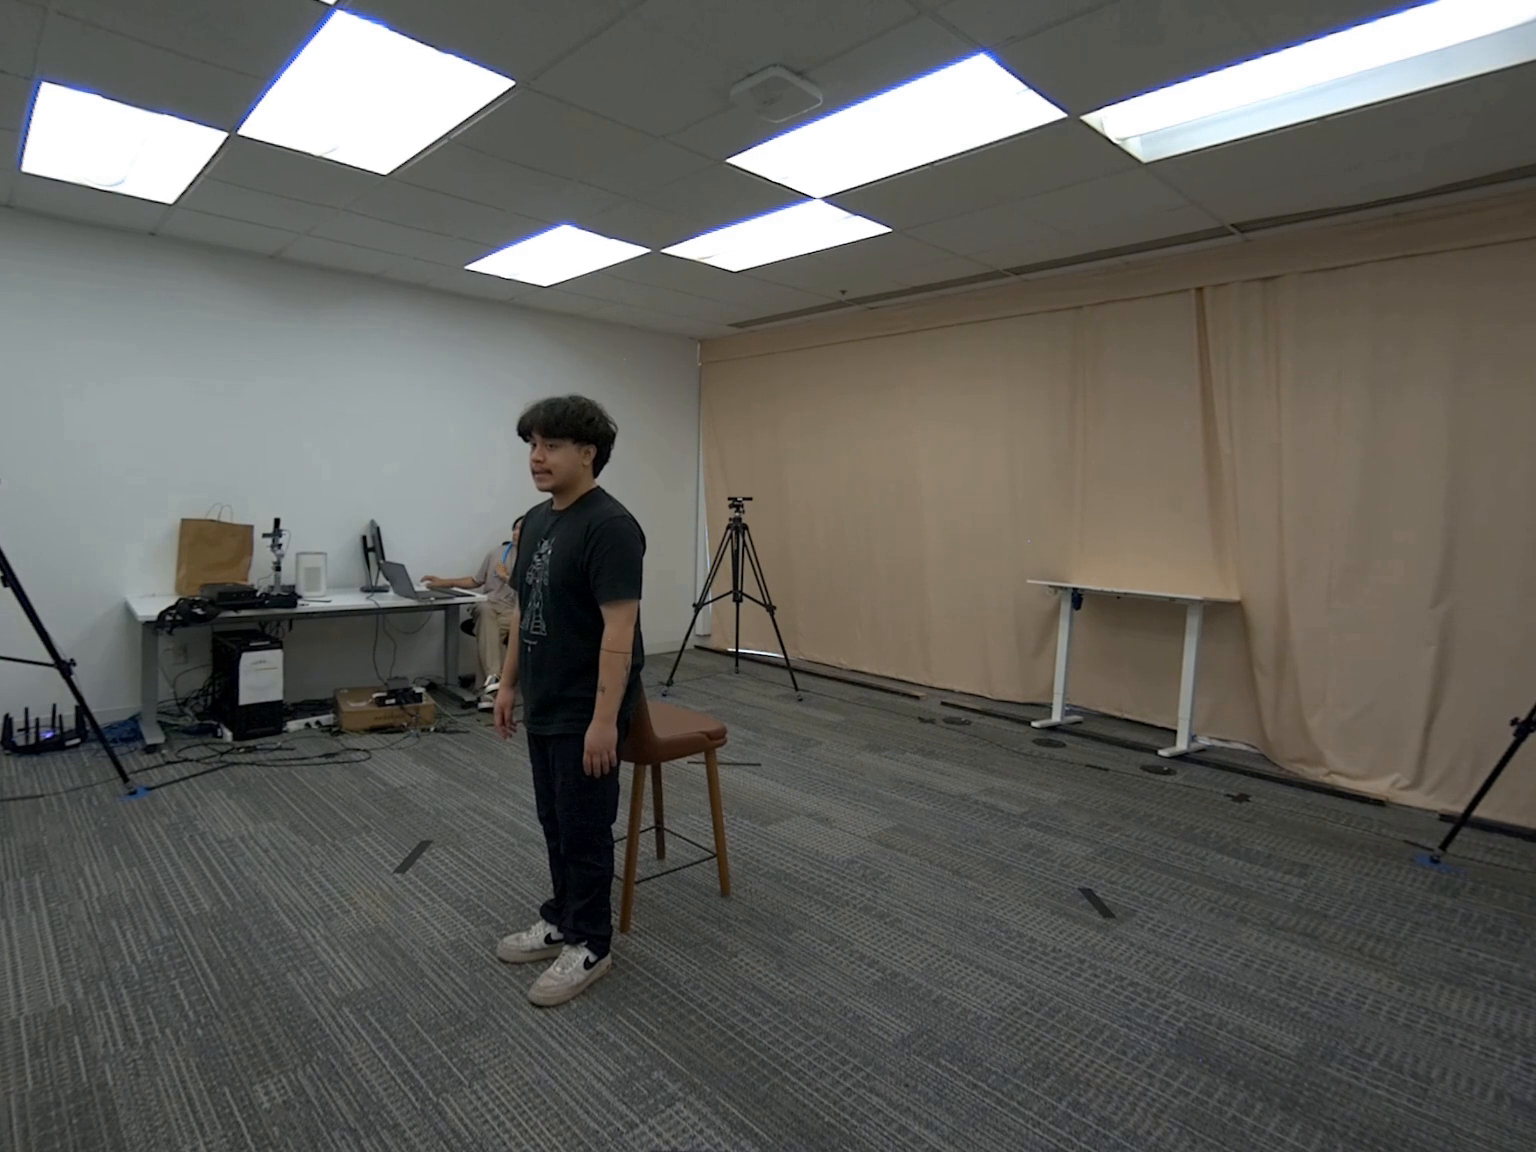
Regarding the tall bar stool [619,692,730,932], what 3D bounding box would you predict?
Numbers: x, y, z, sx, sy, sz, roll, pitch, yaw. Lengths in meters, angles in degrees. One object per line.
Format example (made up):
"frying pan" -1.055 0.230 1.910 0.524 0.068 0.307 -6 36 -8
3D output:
"tall bar stool" -0.431 0.679 2.928 0.457 0.886 0.468 -5 7 -43
